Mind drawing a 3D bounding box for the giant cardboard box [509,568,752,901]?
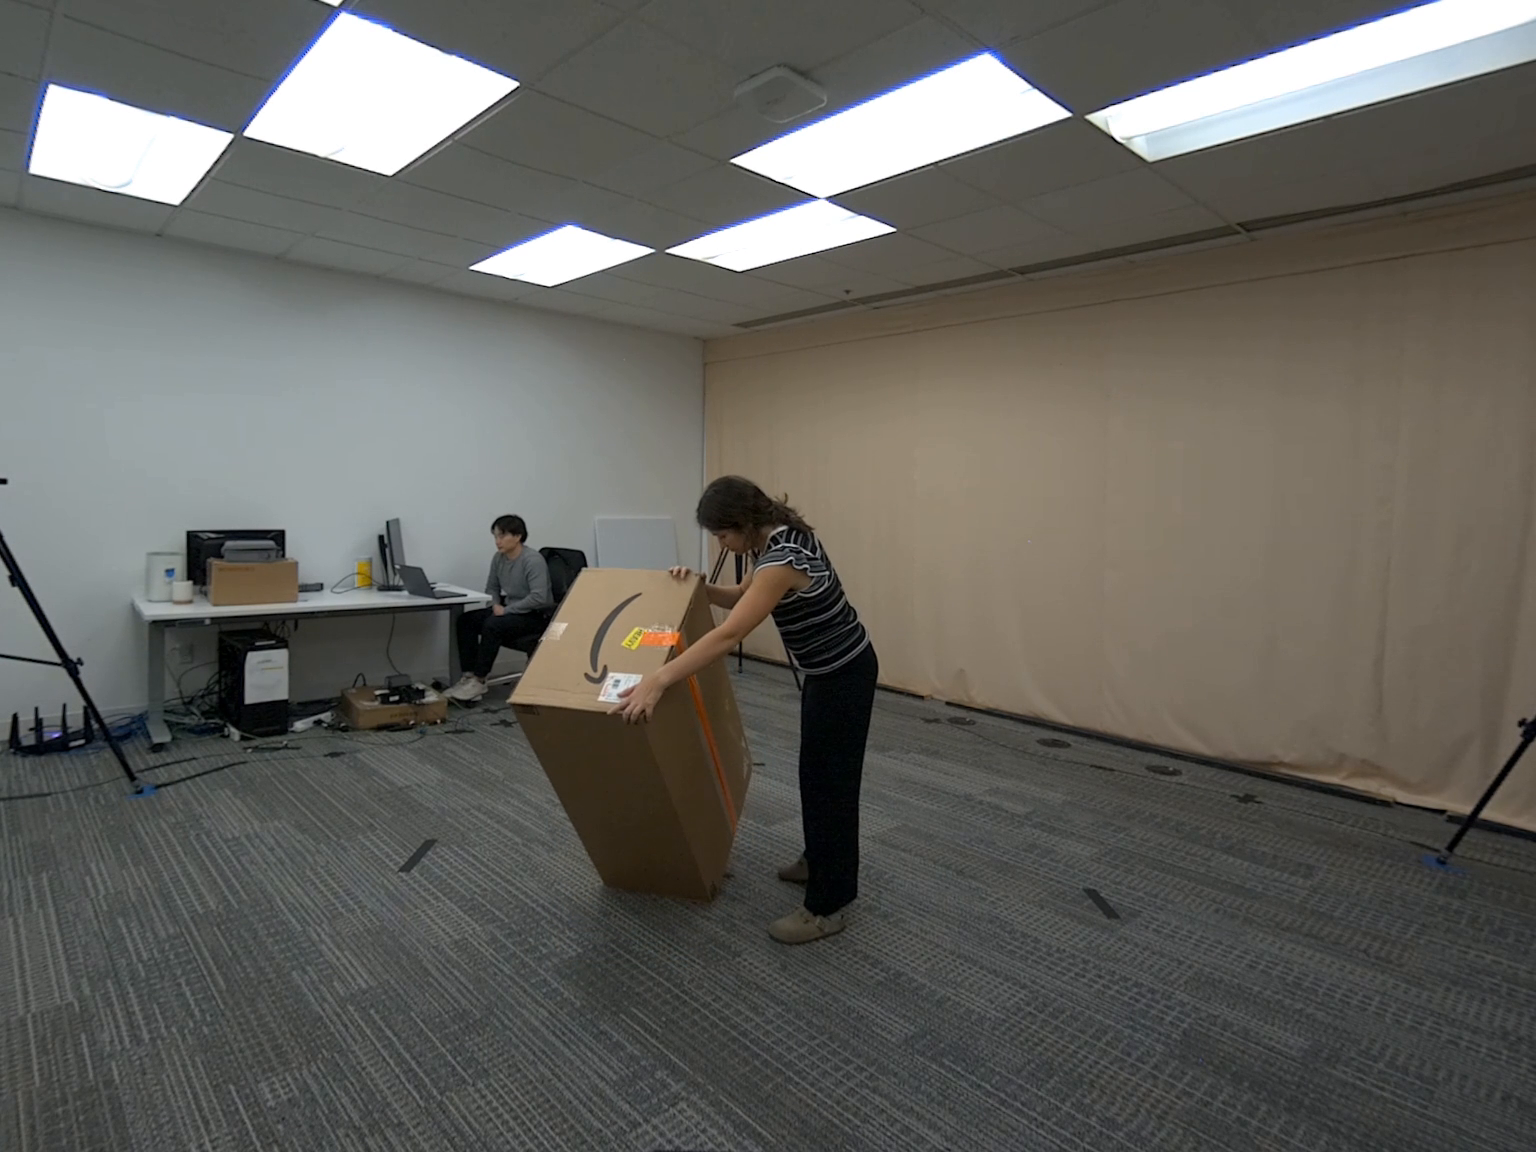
[{"bbox_3d":[-0.402,0.553,2.839,0.432,0.999,0.584,3,42,17],"label":"giant cardboard box"}]
